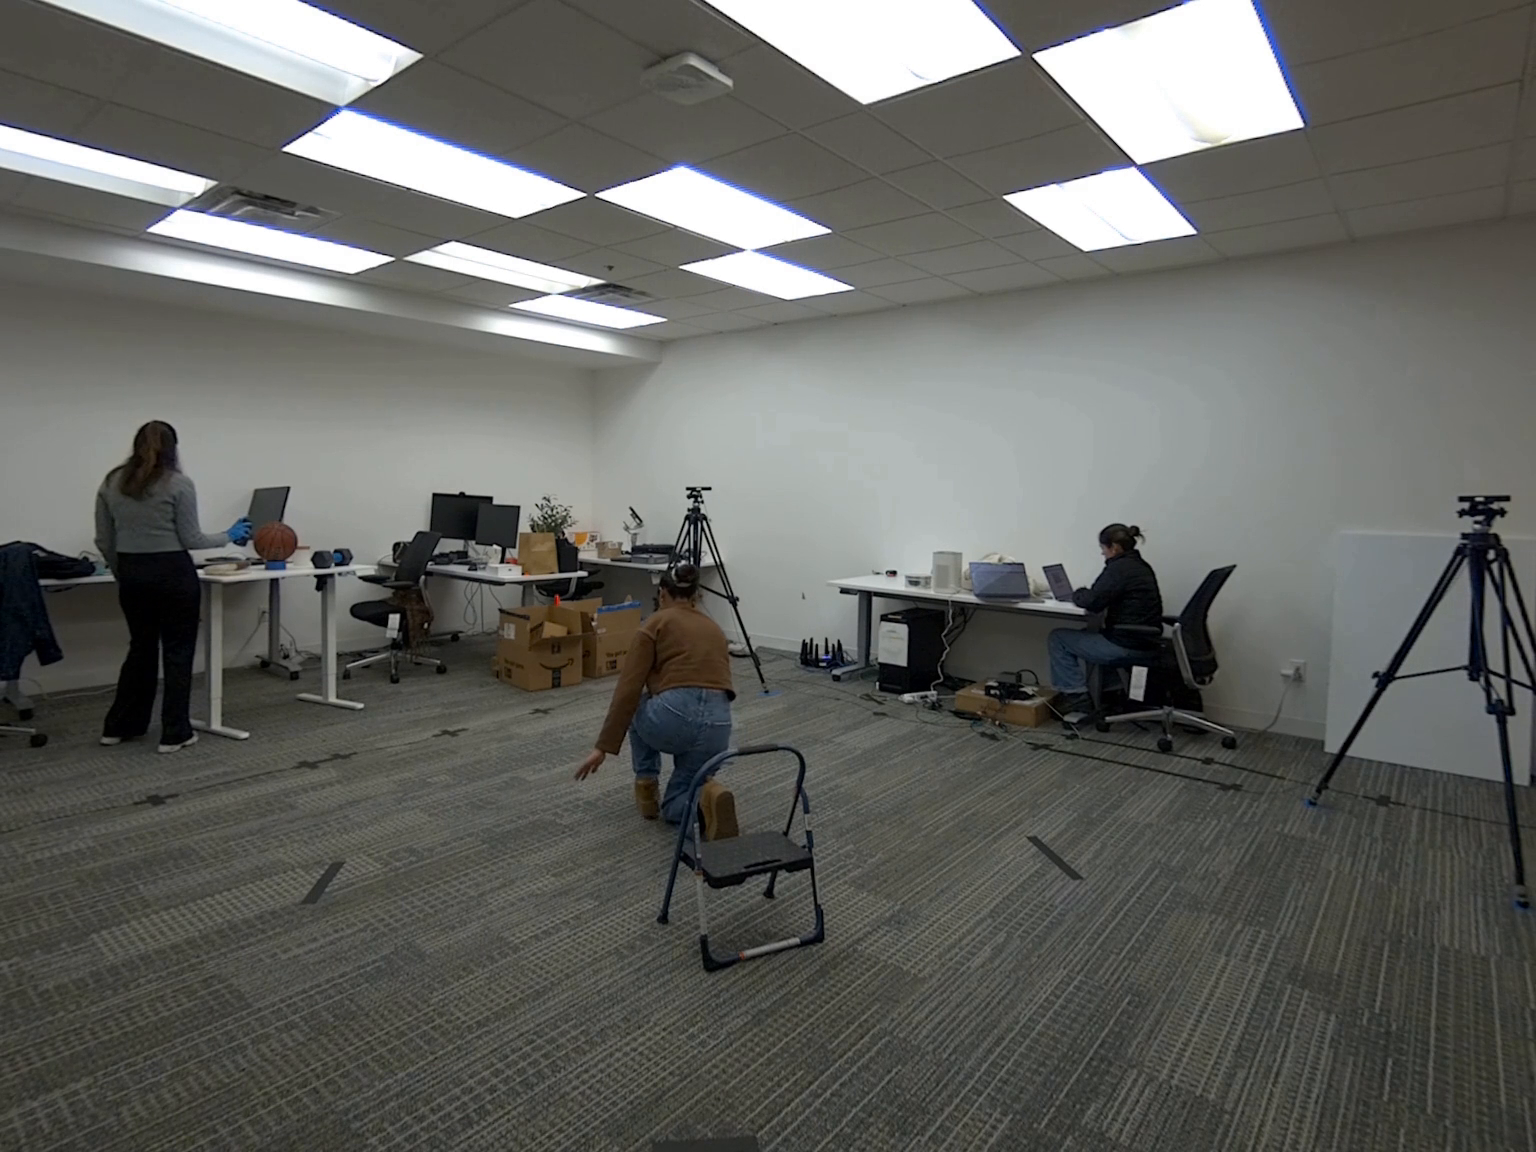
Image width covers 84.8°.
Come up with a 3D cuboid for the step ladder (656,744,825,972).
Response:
[{"bbox_3d":[-0.087,0.812,2.661,0.419,0.604,0.360,-1,4,-31],"label":"step ladder"}]
